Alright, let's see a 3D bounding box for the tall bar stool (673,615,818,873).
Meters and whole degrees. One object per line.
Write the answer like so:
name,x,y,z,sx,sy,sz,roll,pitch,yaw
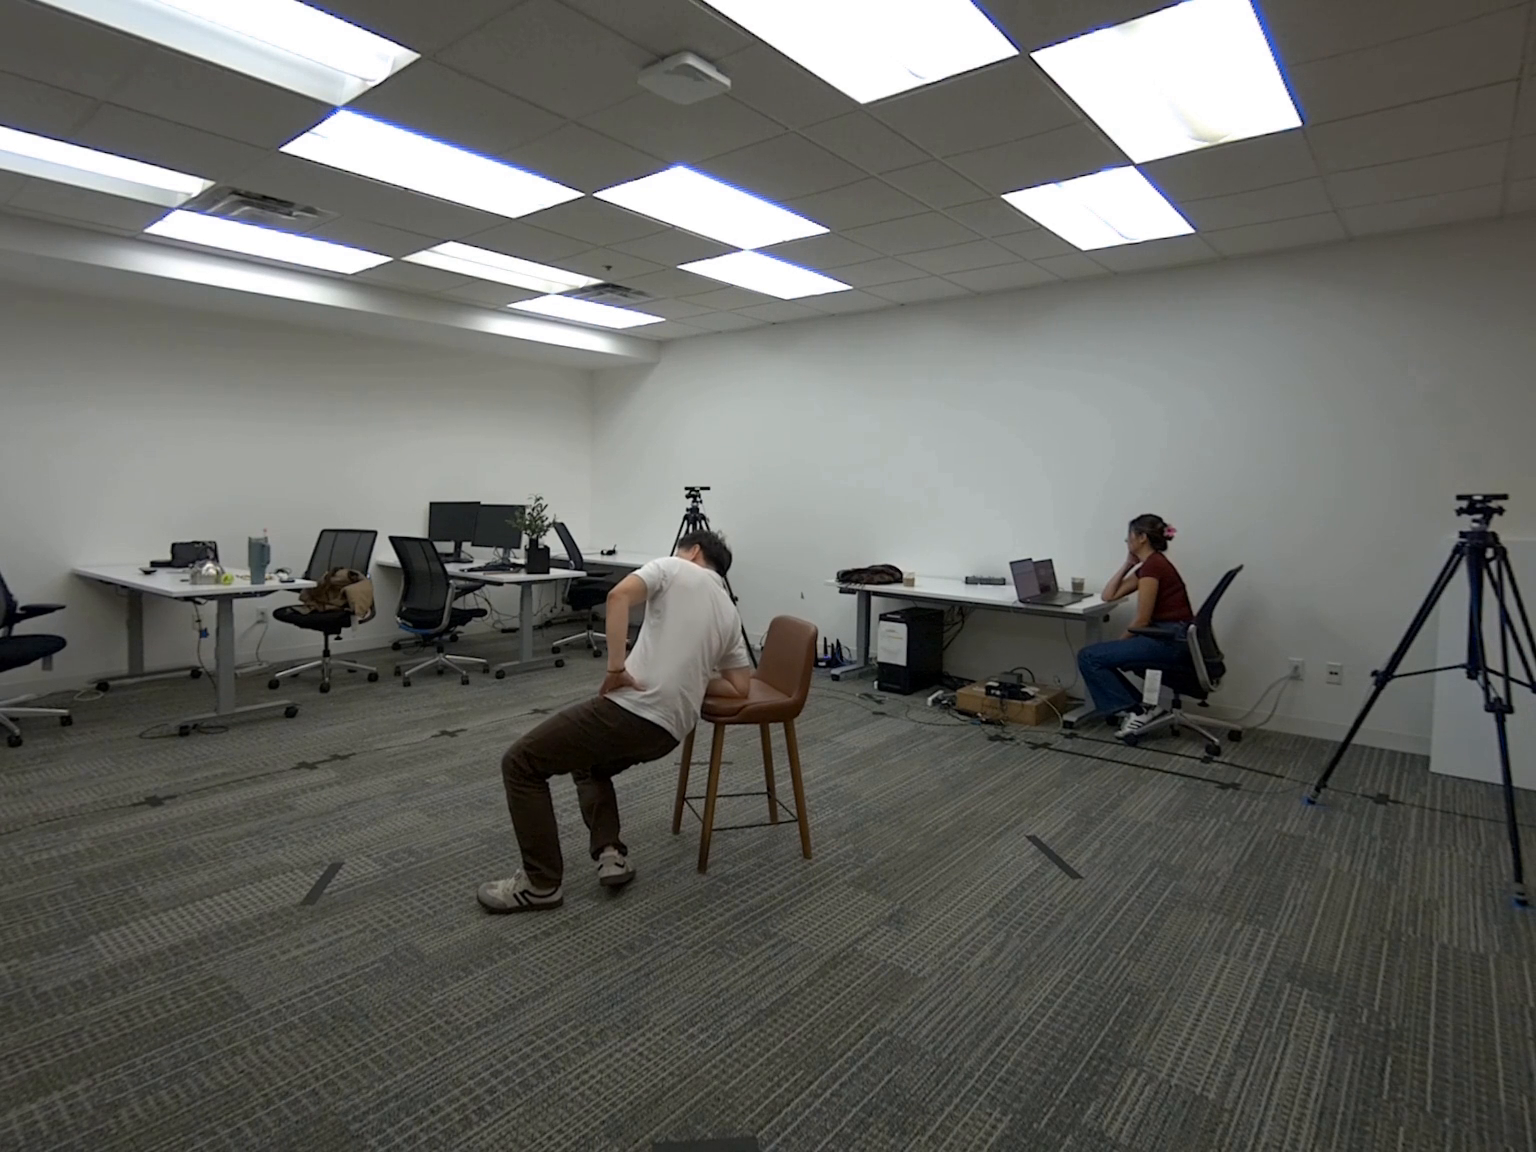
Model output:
tall bar stool,-0.107,0.612,3.301,0.458,0.888,0.467,1,3,-20
